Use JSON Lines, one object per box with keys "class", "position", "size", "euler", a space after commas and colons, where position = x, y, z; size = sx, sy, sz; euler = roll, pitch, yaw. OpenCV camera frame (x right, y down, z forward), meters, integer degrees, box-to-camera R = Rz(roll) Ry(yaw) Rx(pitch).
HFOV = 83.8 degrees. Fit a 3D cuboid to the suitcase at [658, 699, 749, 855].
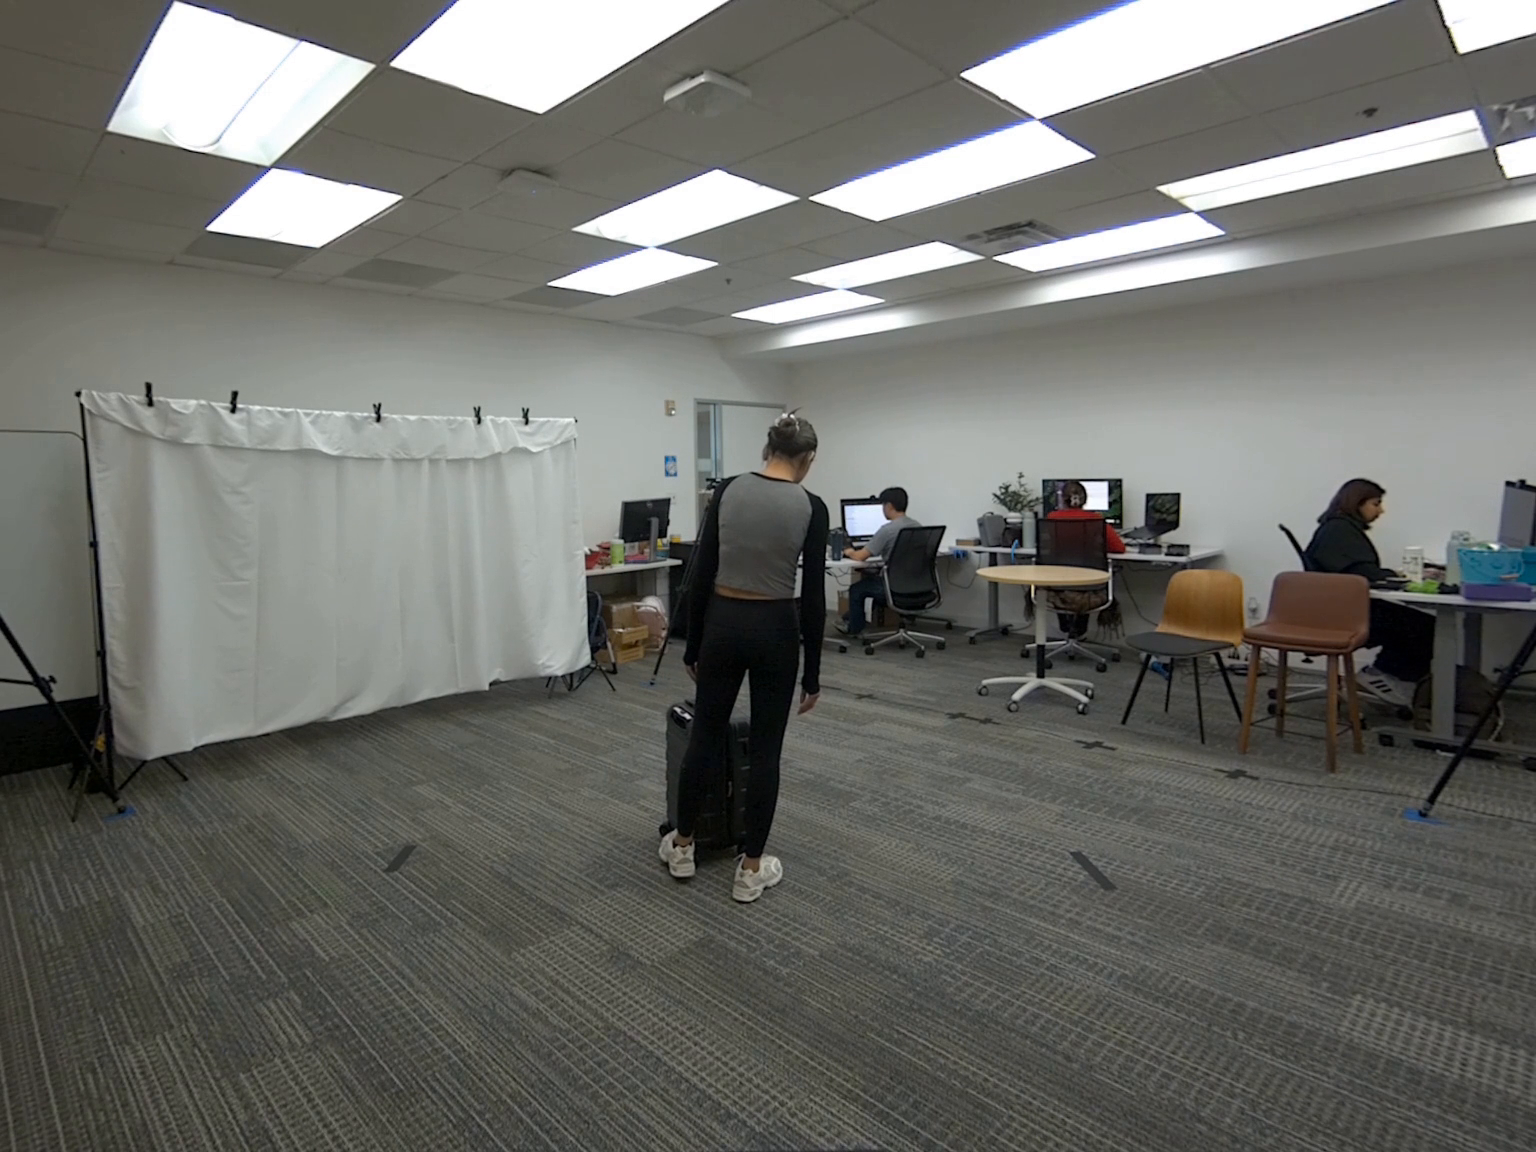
{"class": "suitcase", "position": [-0.222, 0.751, 3.240], "size": [0.243, 0.547, 0.384], "euler": [-2, 5, -23]}
